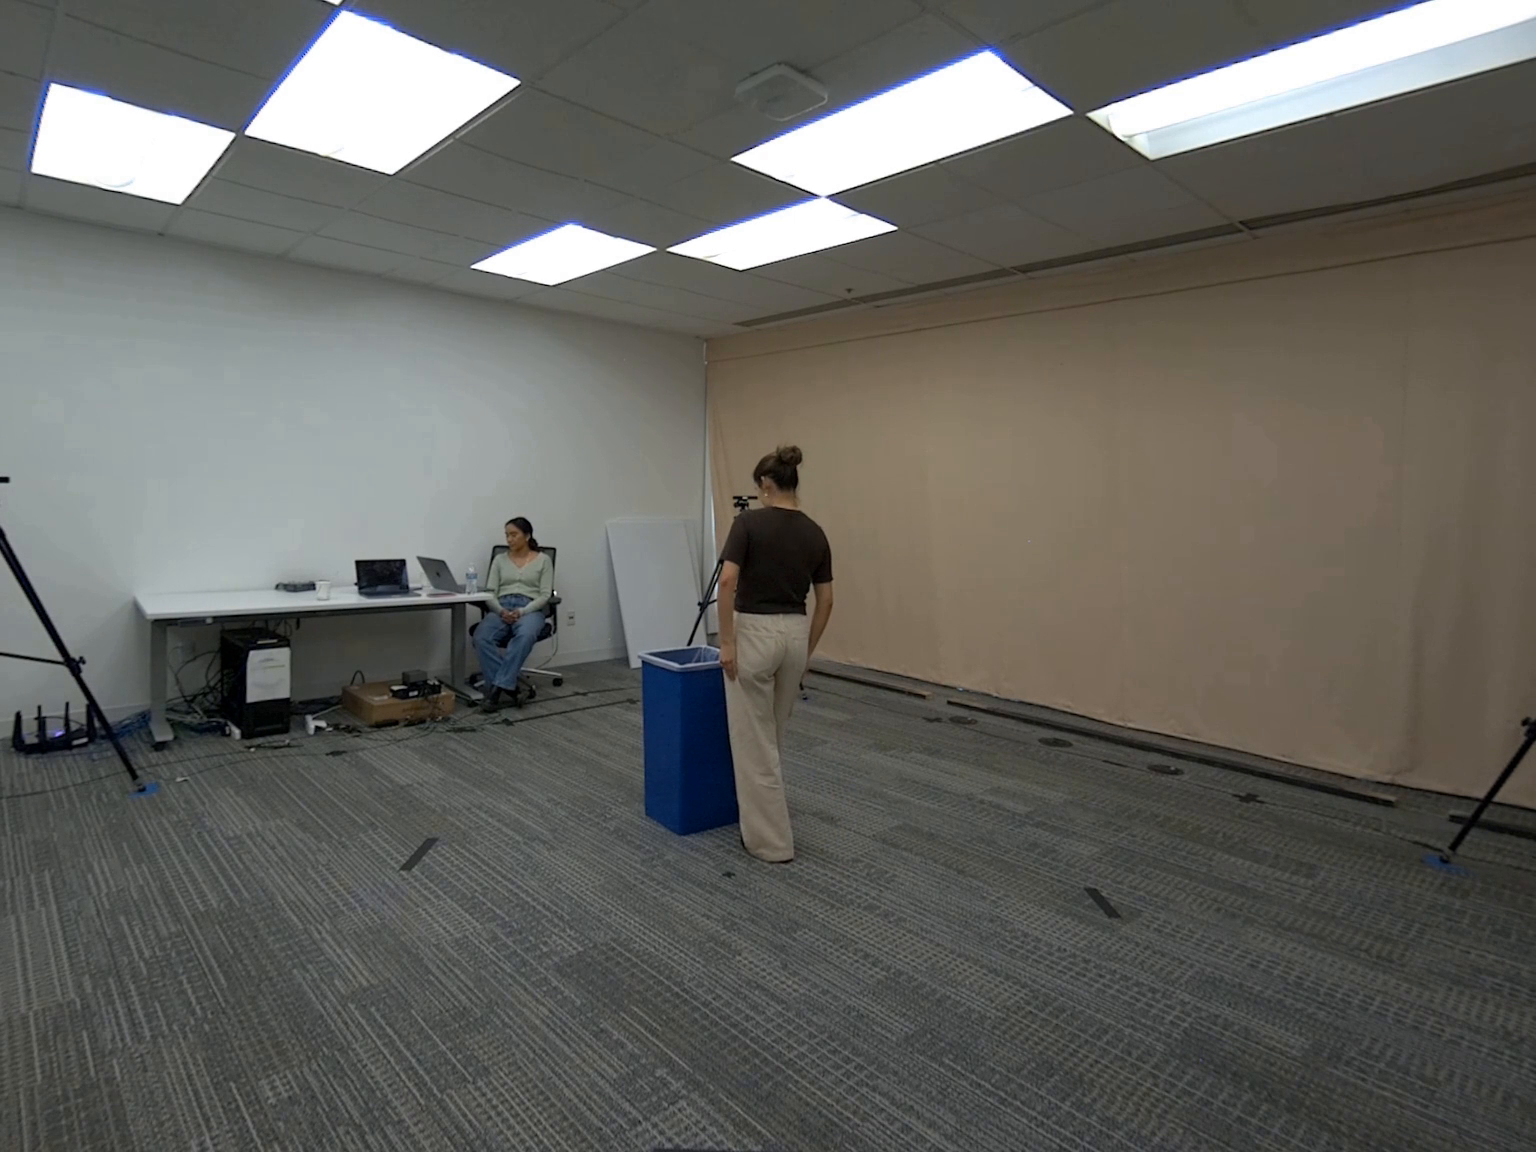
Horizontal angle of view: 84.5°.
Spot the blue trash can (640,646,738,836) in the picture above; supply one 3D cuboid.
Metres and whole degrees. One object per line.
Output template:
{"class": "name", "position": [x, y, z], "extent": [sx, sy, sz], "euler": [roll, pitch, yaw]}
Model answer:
{"class": "blue trash can", "position": [-0.344, 0.692, 3.639], "extent": [0.369, 0.712, 0.383], "euler": [-1, 4, -39]}
